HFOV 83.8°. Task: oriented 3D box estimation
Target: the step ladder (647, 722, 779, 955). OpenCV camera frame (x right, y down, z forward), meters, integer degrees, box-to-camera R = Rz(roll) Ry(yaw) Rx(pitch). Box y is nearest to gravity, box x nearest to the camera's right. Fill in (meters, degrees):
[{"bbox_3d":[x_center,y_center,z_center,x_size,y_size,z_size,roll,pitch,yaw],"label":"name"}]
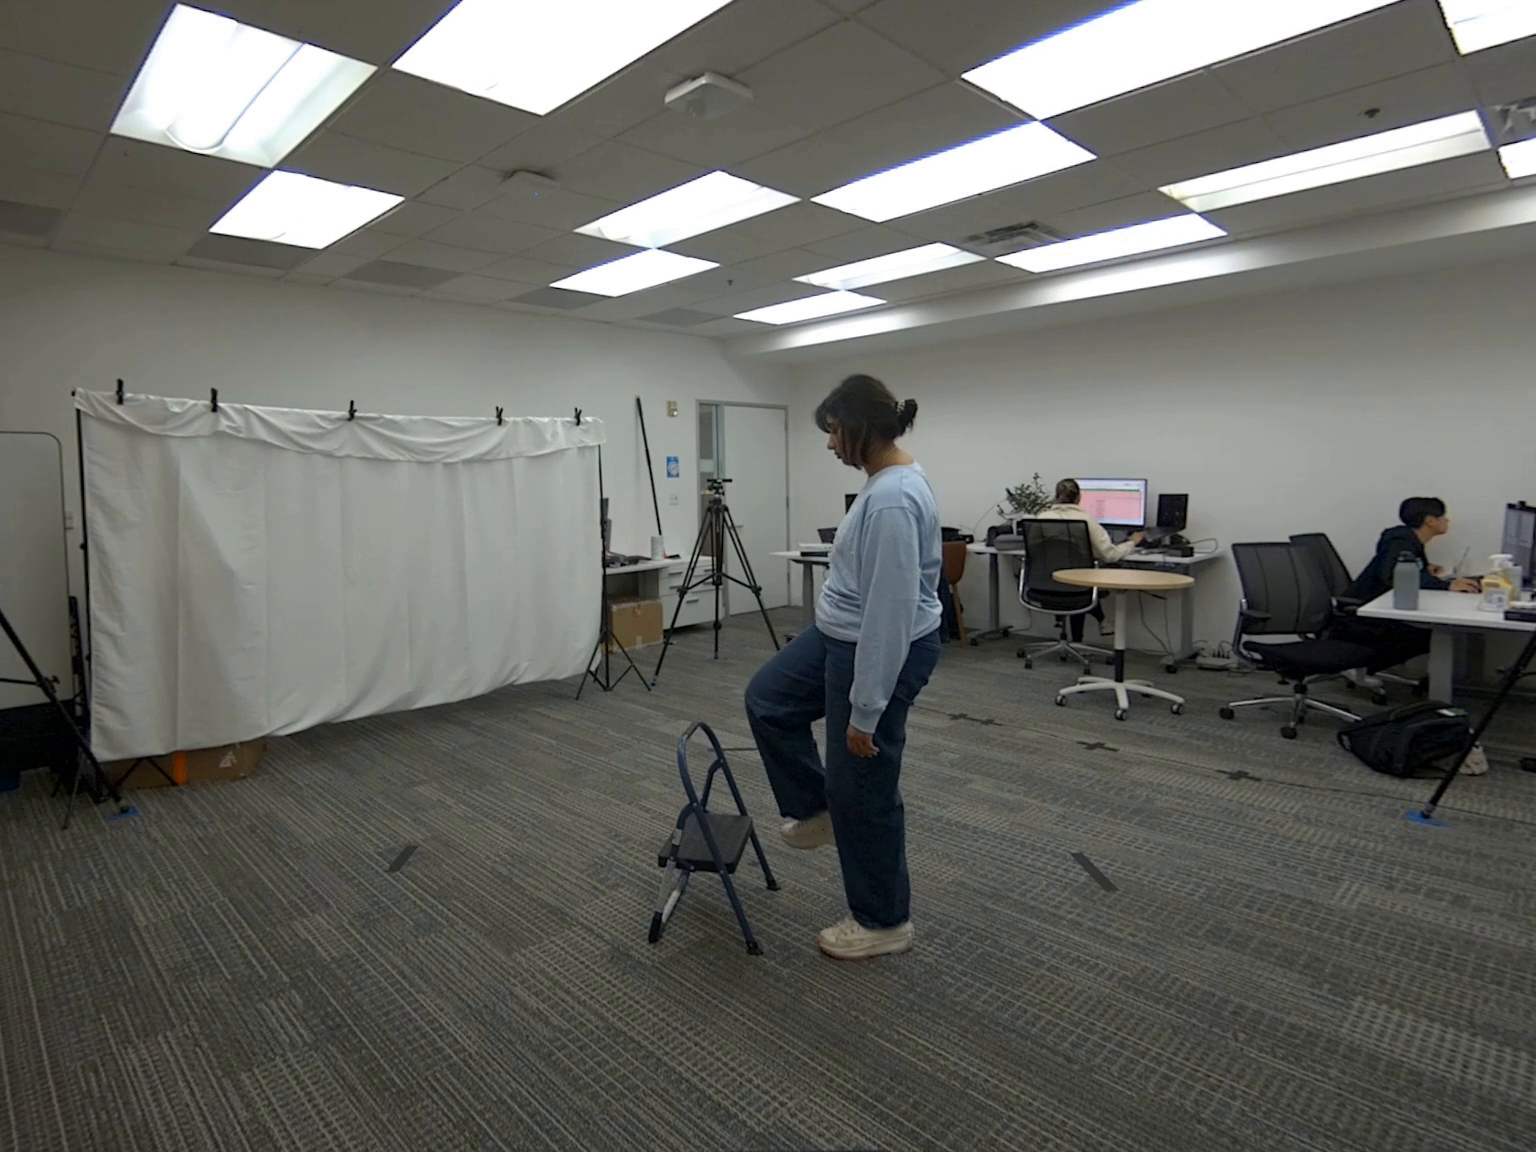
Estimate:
[{"bbox_3d":[-0.164,0.792,2.731,0.353,0.604,0.428,1,5,10],"label":"step ladder"}]
